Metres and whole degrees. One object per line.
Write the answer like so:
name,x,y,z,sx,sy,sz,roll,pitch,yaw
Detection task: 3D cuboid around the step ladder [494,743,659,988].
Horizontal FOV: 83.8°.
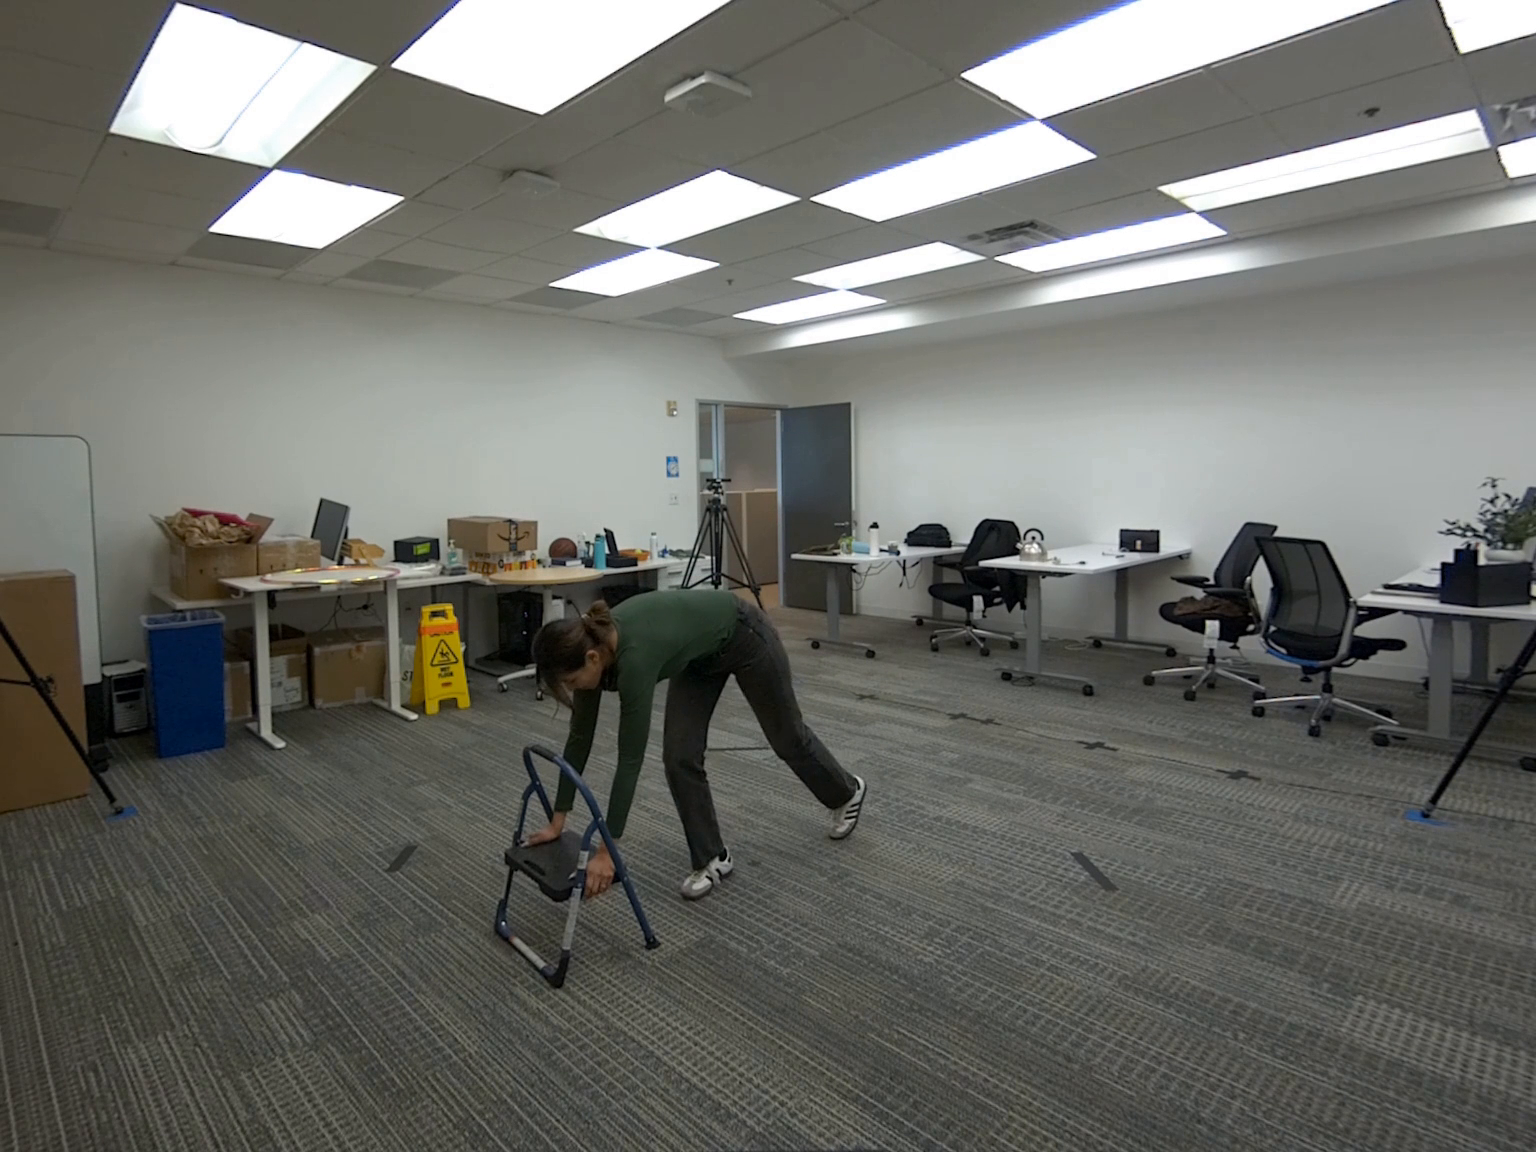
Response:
step ladder,-0.598,0.815,2.604,0.340,0.604,0.444,-5,6,-41
